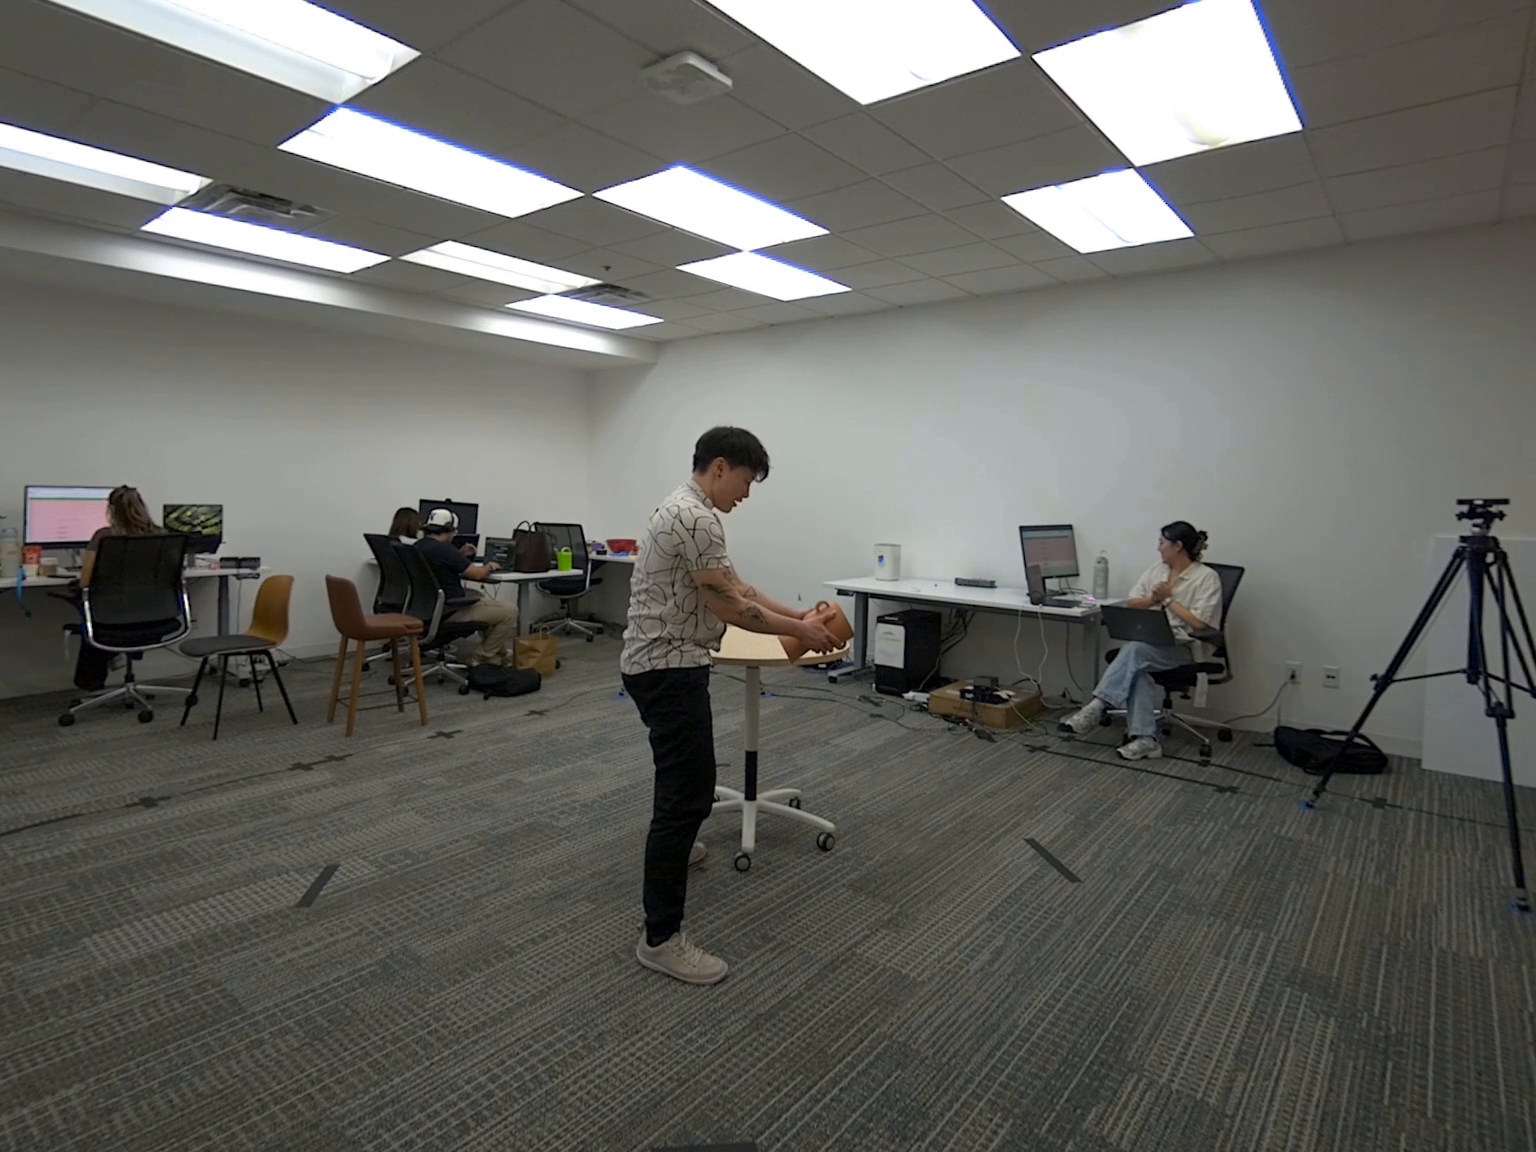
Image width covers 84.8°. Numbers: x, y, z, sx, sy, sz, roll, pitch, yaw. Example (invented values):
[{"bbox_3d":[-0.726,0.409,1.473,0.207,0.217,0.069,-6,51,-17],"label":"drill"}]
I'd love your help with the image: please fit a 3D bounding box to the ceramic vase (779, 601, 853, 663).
[{"bbox_3d":[0.147,0.190,2.721,0.220,0.162,0.131,-28,-16,0],"label":"ceramic vase"}]
